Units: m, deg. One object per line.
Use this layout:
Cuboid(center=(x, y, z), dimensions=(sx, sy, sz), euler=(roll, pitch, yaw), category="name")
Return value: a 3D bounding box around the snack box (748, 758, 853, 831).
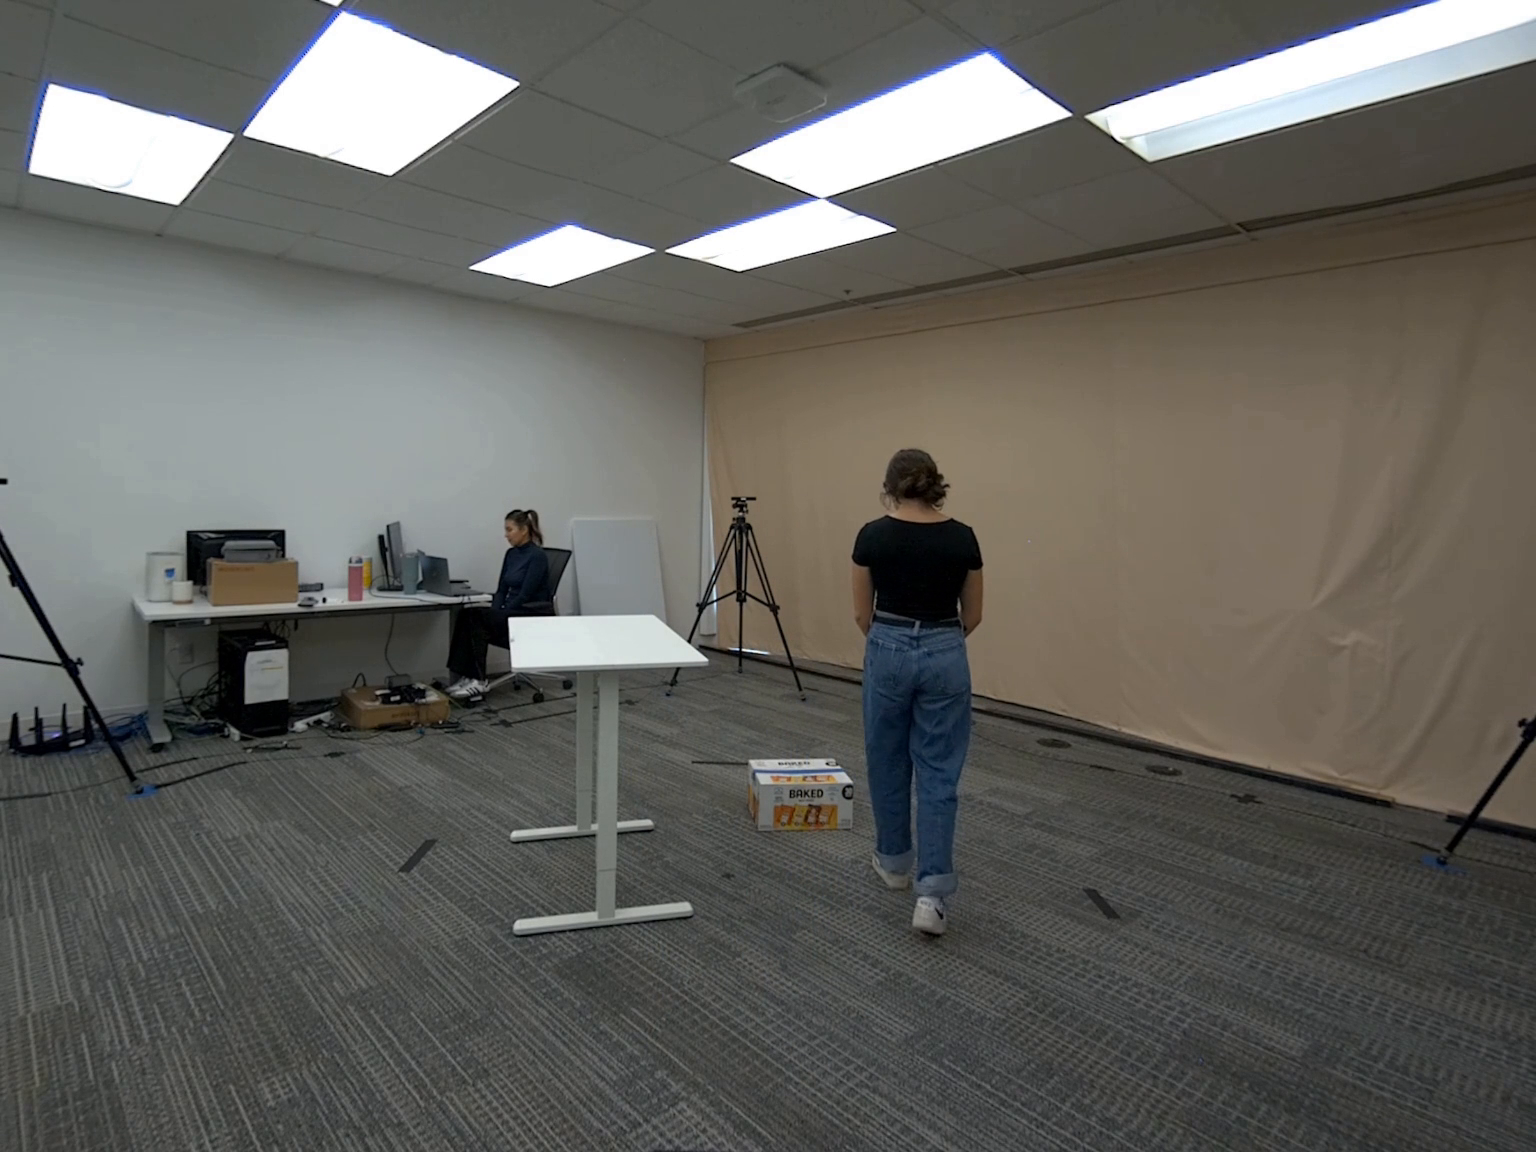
Cuboid(center=(0.125, 0.959, 3.718), dimensions=(0.402, 0.205, 0.343), euler=(1, 4, -9), category="snack box")
